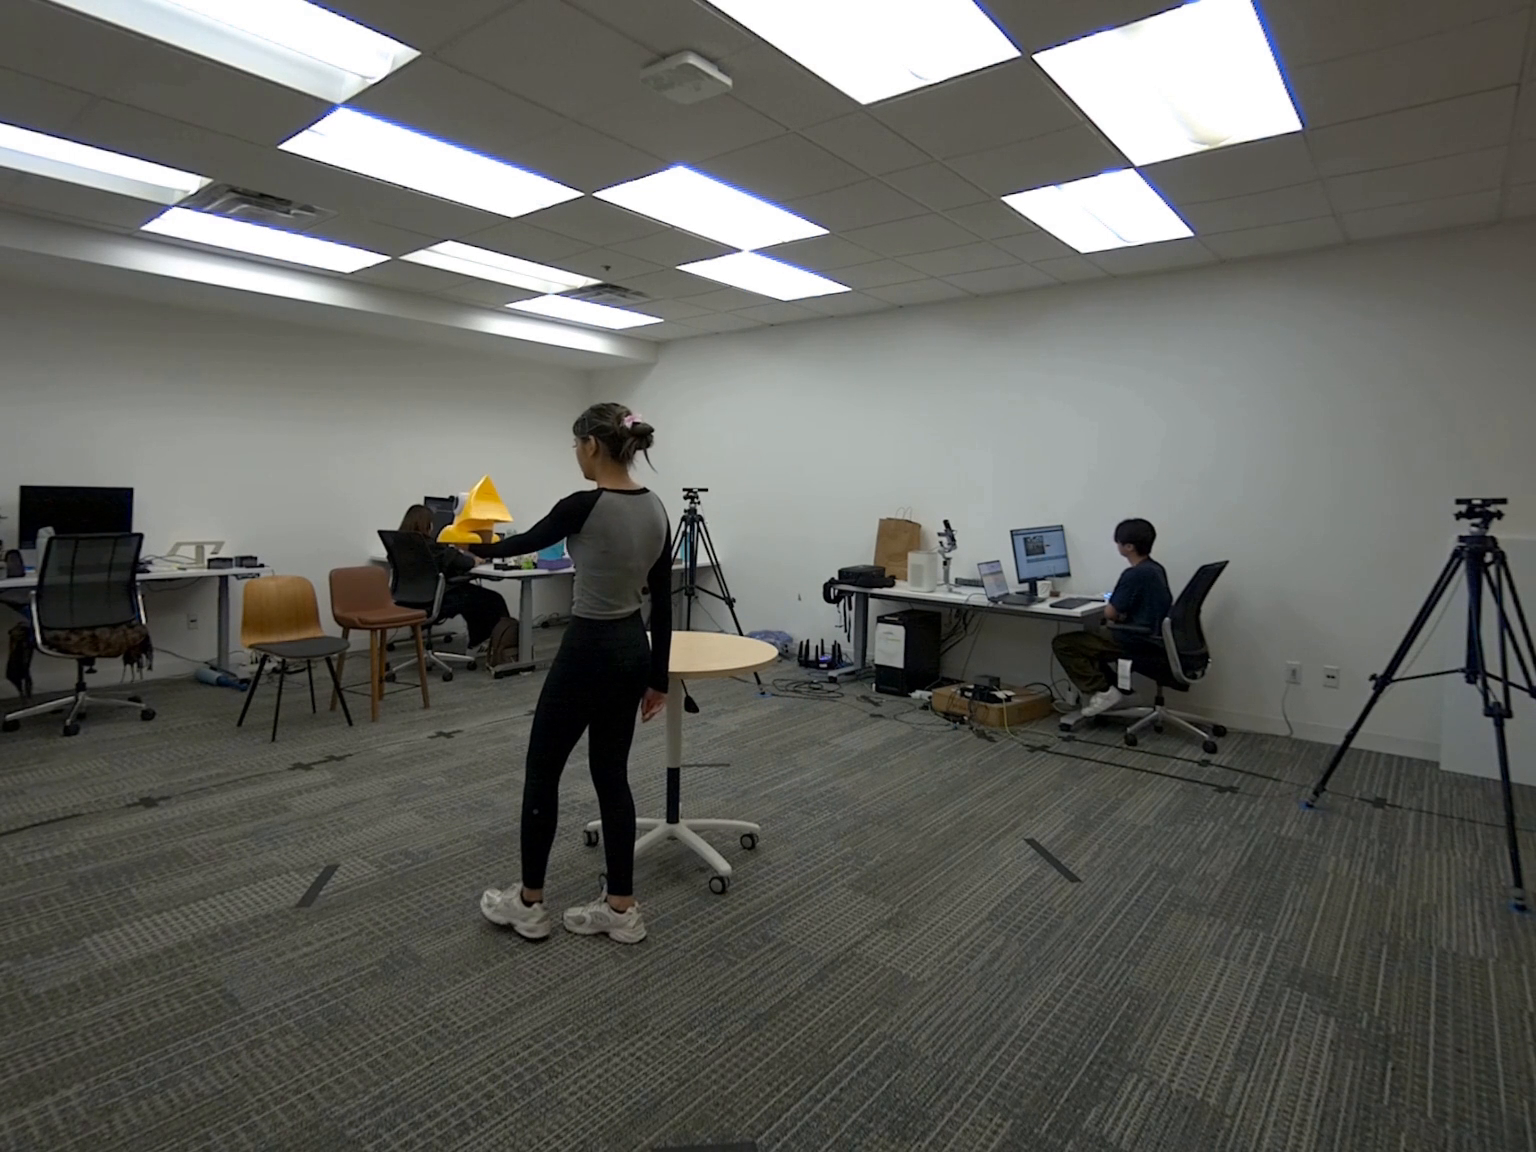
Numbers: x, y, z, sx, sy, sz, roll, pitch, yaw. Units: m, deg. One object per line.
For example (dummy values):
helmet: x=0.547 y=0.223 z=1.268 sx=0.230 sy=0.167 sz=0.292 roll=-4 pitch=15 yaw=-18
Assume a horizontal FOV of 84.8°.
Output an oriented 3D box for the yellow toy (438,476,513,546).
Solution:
yellow toy: x=-1.012 y=-0.229 z=2.882 sx=0.198 sy=0.231 sz=0.199 roll=1 pitch=0 yaw=27
